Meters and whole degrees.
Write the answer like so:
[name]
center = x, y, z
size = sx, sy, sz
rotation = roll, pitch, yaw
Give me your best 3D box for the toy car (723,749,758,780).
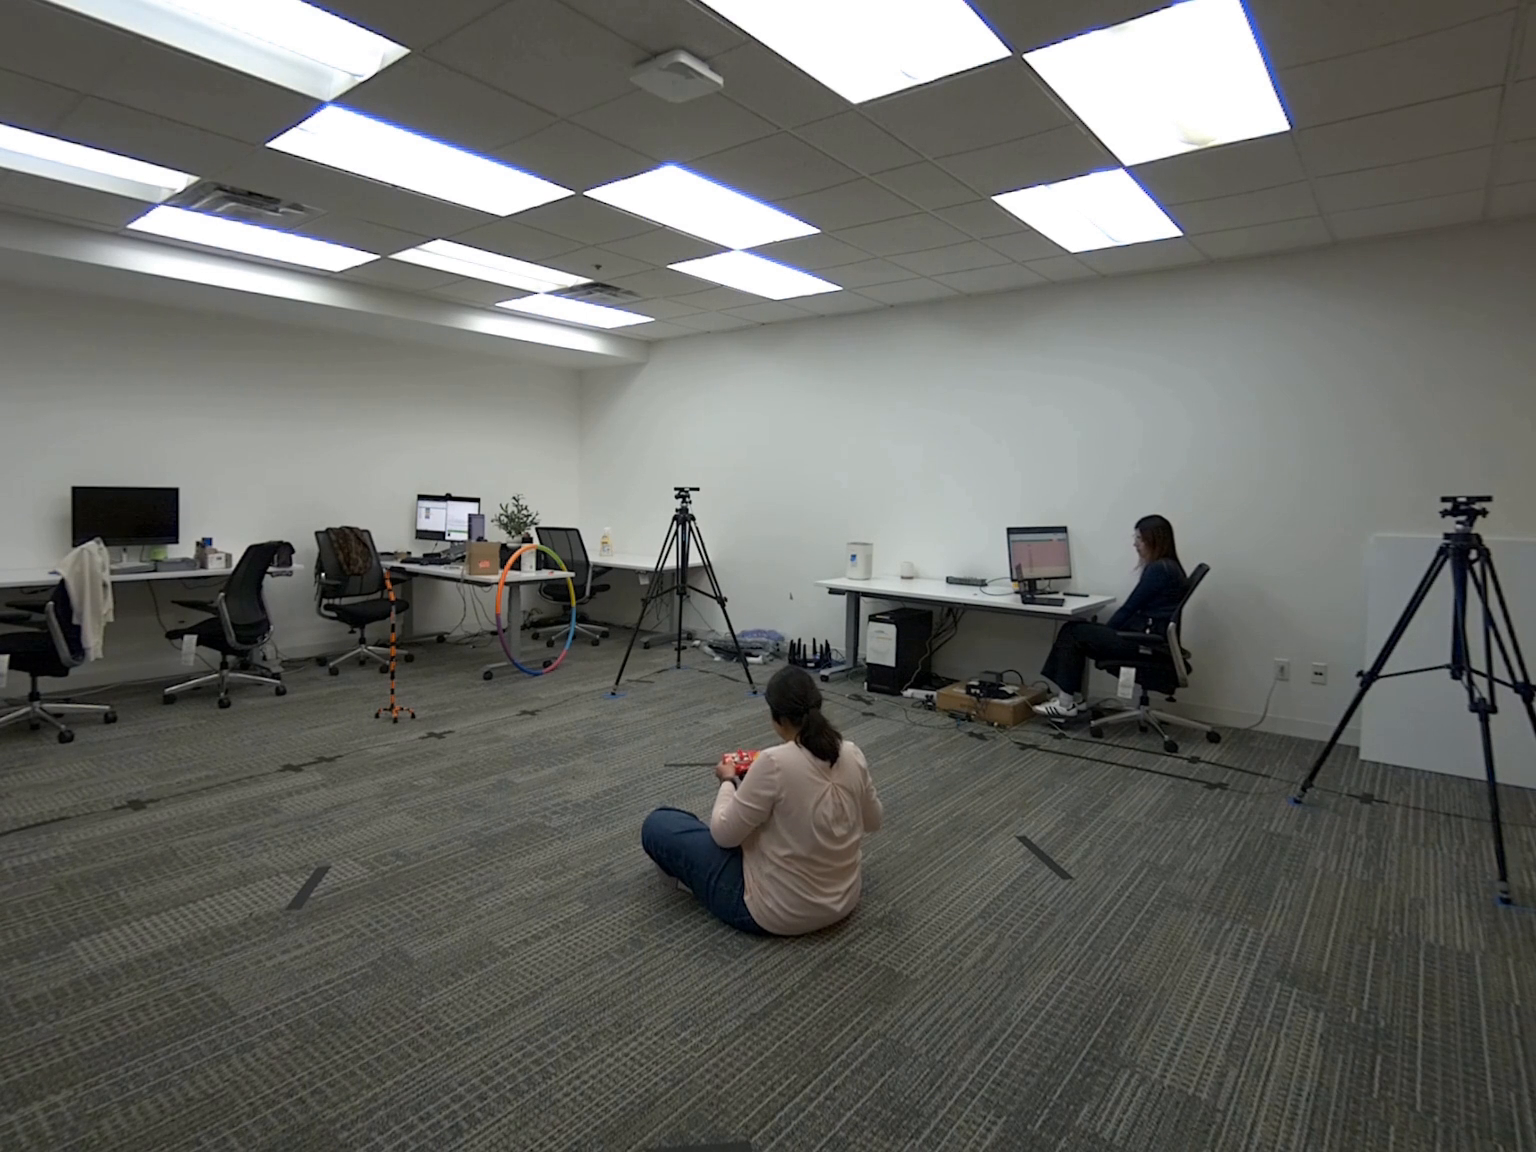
[toy car]
center = -0.051, 0.693, 3.128
size = 0.250, 0.082, 0.134
rotation = 14, 19, -13
